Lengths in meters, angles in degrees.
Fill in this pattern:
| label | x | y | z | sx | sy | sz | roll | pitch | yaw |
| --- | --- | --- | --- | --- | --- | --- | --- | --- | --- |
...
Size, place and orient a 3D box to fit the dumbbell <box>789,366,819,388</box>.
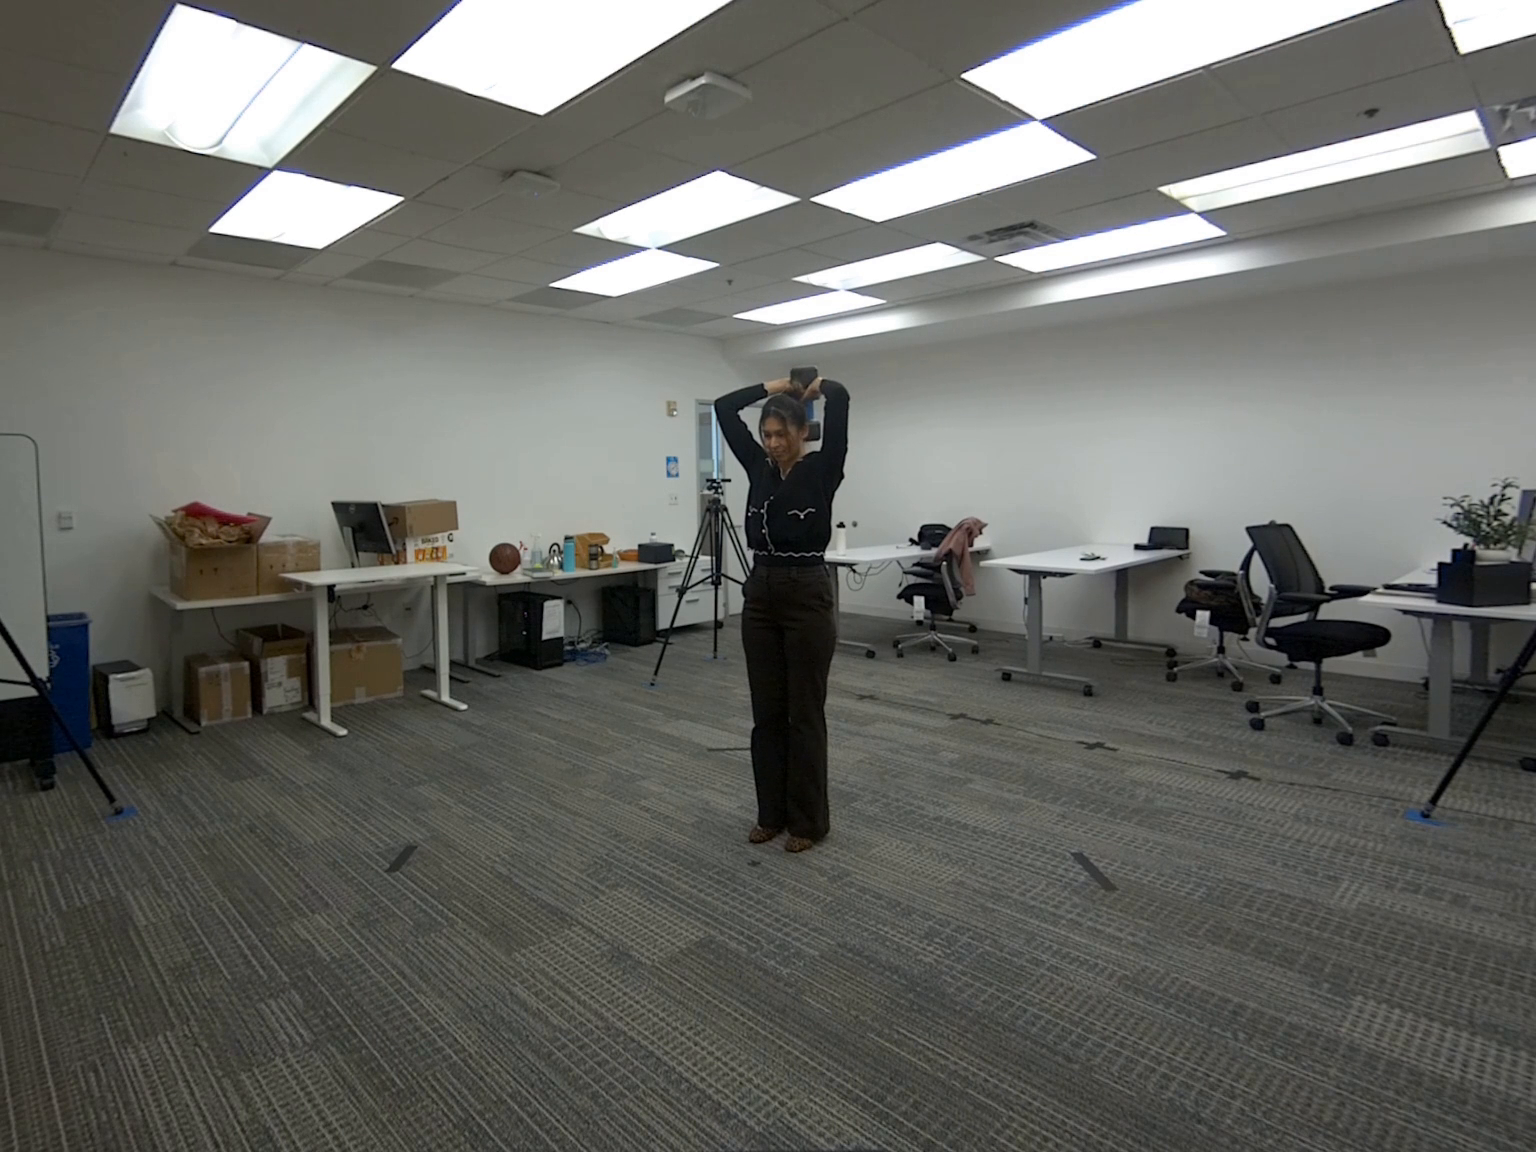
| label | x | y | z | sx | sy | sz | roll | pitch | yaw |
| --- | --- | --- | --- | --- | --- | --- | --- | --- | --- |
| dumbbell | 0.155 | -0.685 | 3.387 | 0.109 | 0.290 | 0.124 | -5 | 12 | 6 |
